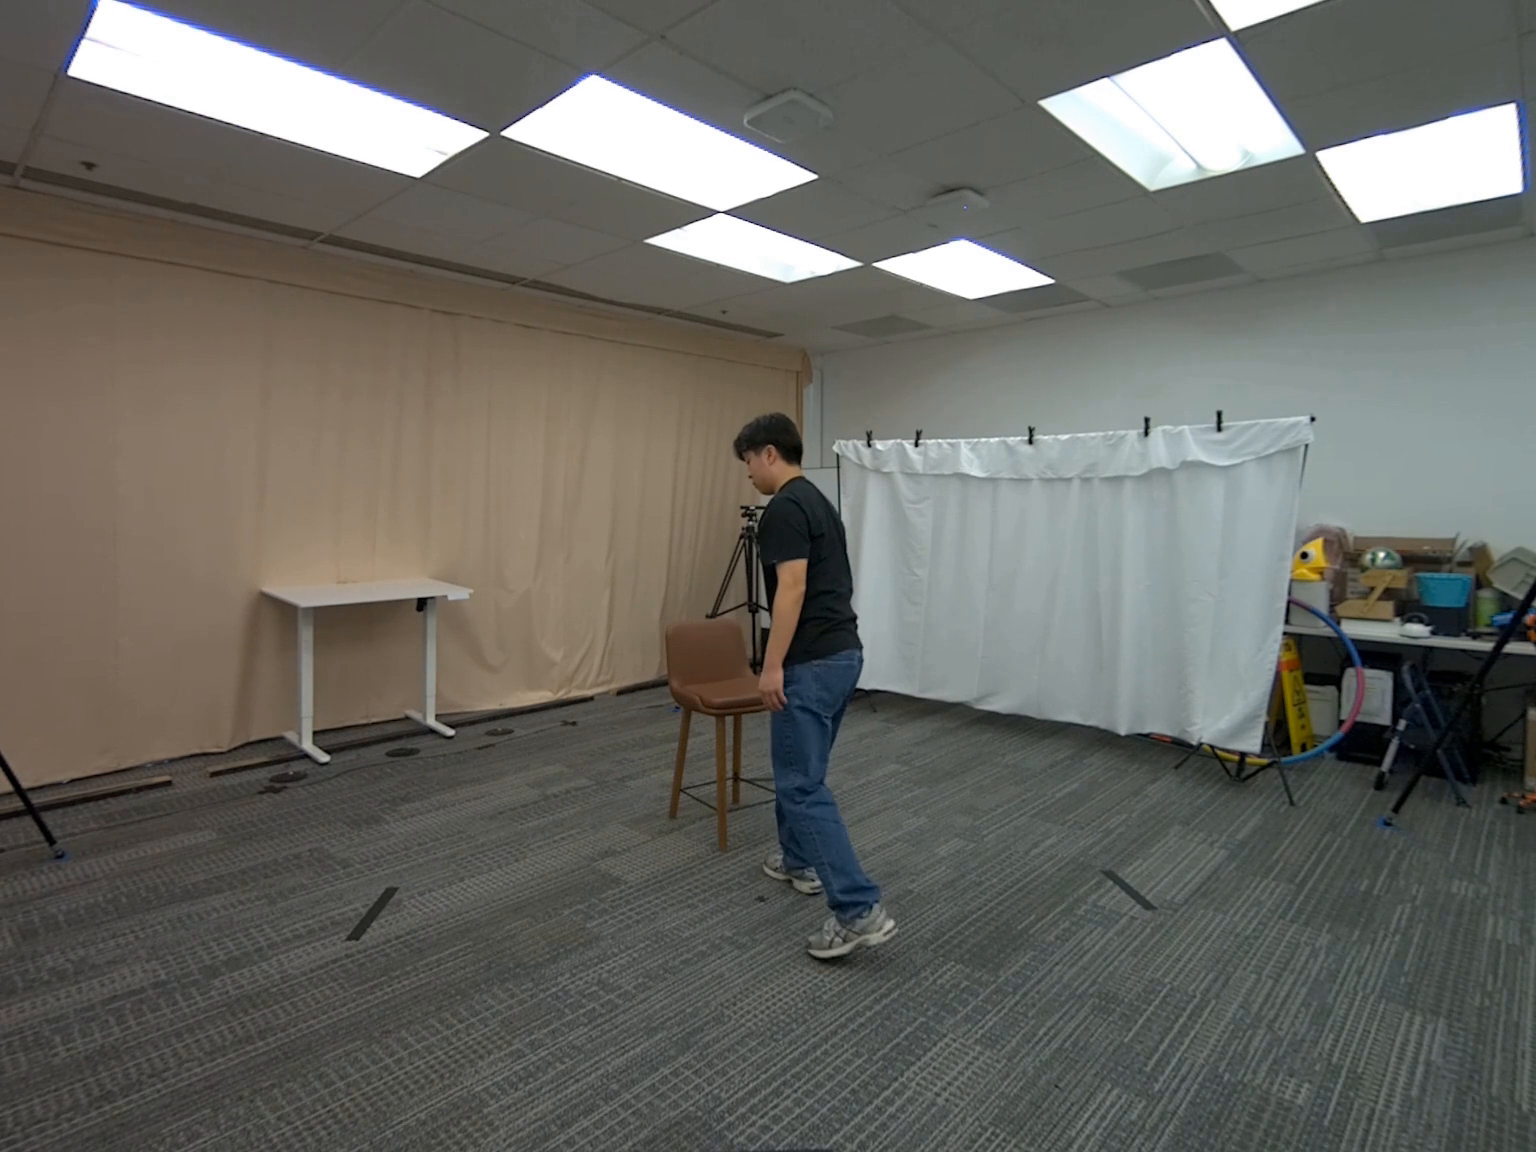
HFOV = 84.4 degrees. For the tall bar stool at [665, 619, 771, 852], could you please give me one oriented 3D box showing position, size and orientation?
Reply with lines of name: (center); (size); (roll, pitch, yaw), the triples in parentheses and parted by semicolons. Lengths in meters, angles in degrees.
tall bar stool: (-0.170, 0.651, 3.666); (0.443, 0.889, 0.482); (-2, 2, -36)
